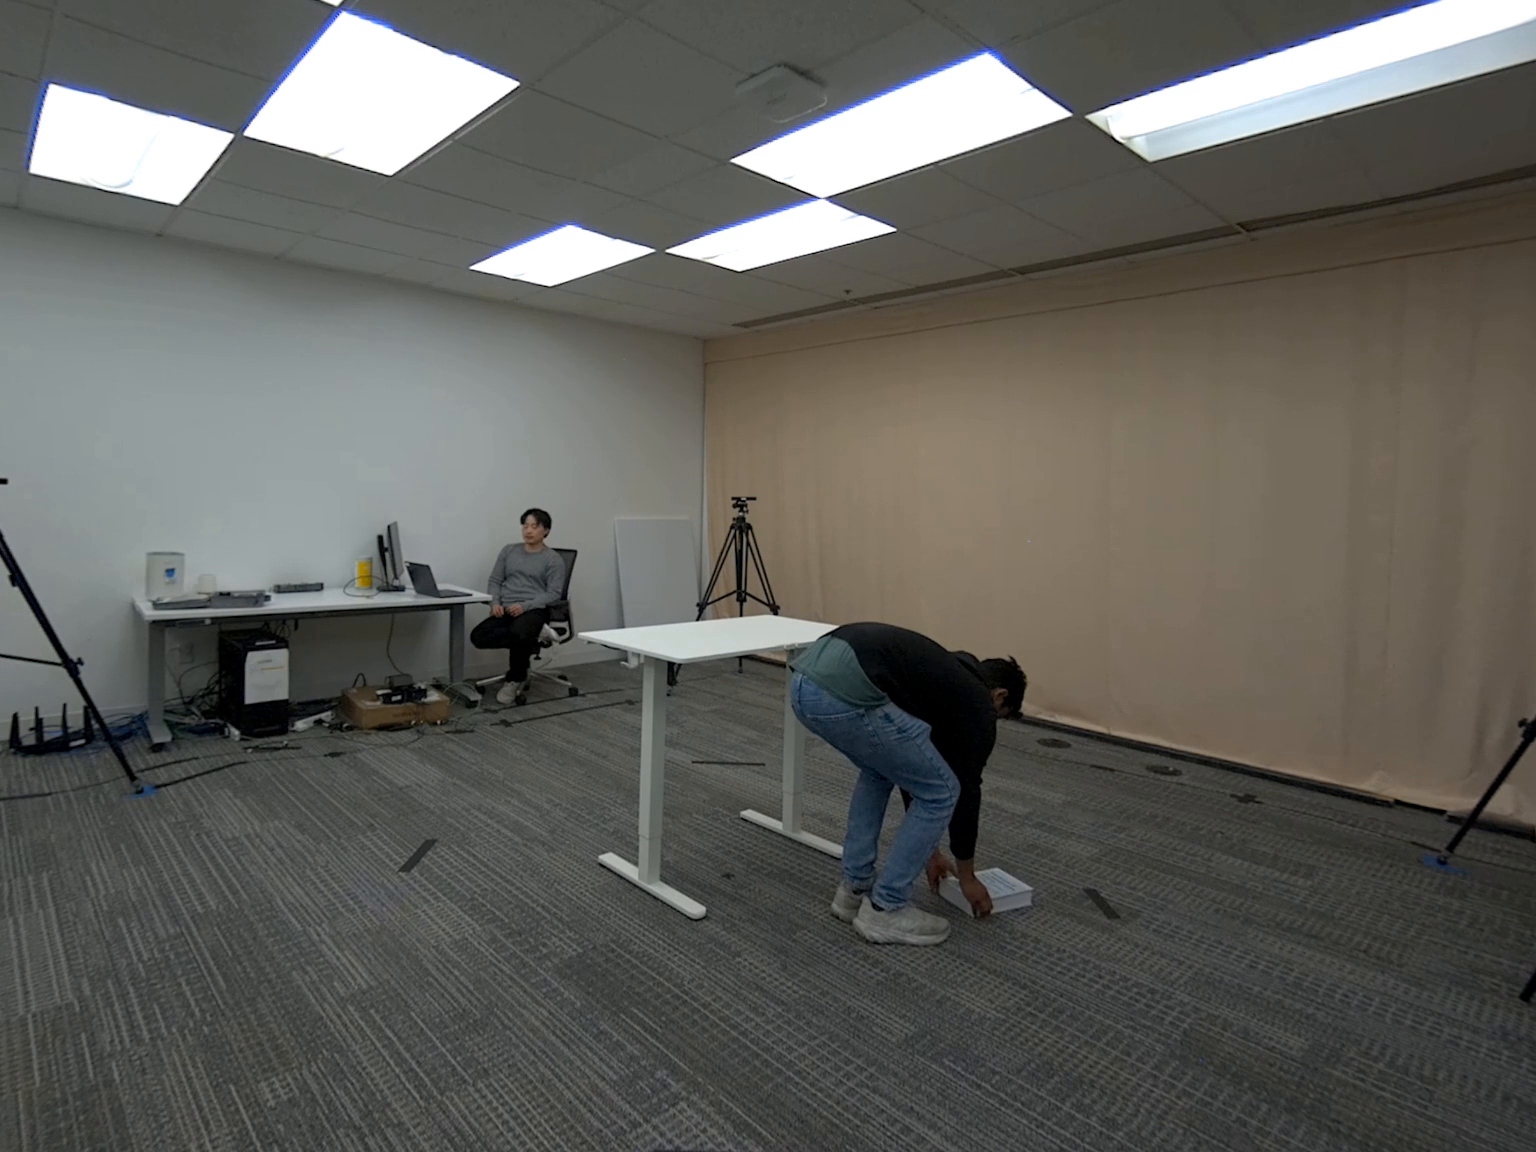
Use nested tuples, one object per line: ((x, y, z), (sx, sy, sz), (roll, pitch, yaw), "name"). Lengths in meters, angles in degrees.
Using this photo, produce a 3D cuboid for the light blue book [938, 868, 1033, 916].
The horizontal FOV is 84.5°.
((0.760, 1.111, 2.970), (0.256, 0.059, 0.195), (-1, 6, -26), "light blue book")
